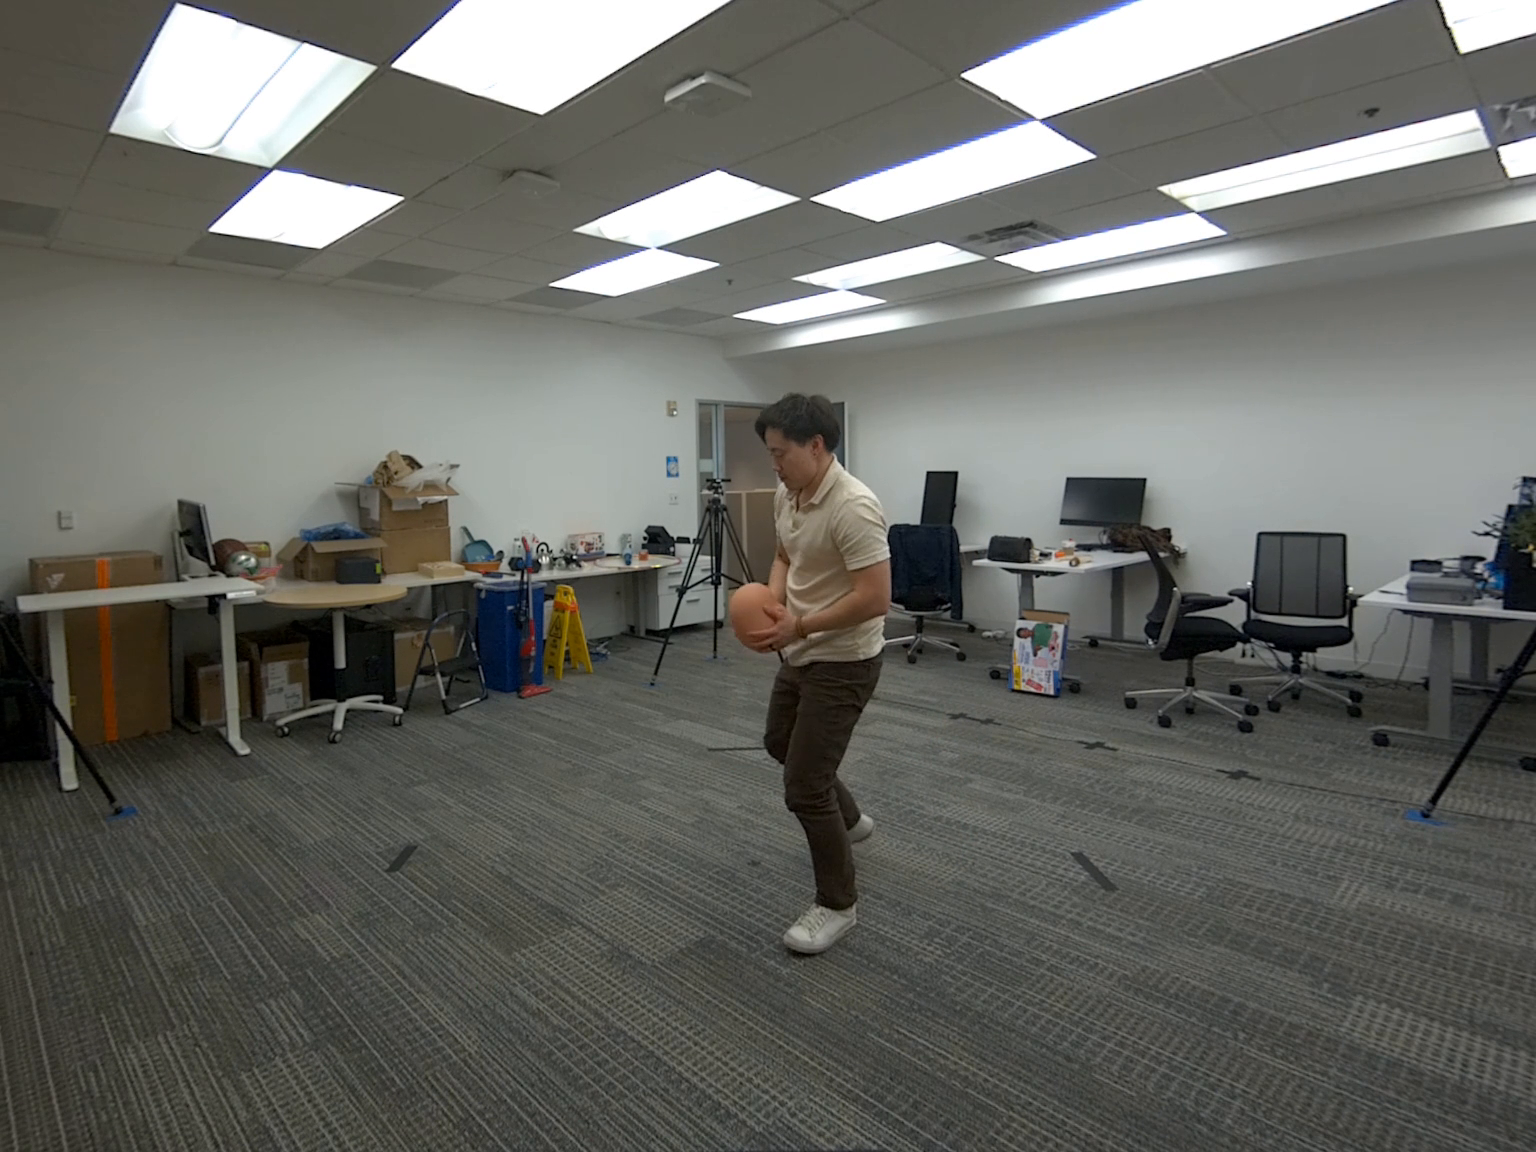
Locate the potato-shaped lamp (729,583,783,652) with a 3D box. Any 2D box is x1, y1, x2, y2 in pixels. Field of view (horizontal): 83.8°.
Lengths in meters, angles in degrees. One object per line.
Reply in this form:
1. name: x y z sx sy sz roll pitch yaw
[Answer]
1. potato-shaped lamp: -0.015 0.113 2.550 0.170 0.196 0.168 -22 11 -19
